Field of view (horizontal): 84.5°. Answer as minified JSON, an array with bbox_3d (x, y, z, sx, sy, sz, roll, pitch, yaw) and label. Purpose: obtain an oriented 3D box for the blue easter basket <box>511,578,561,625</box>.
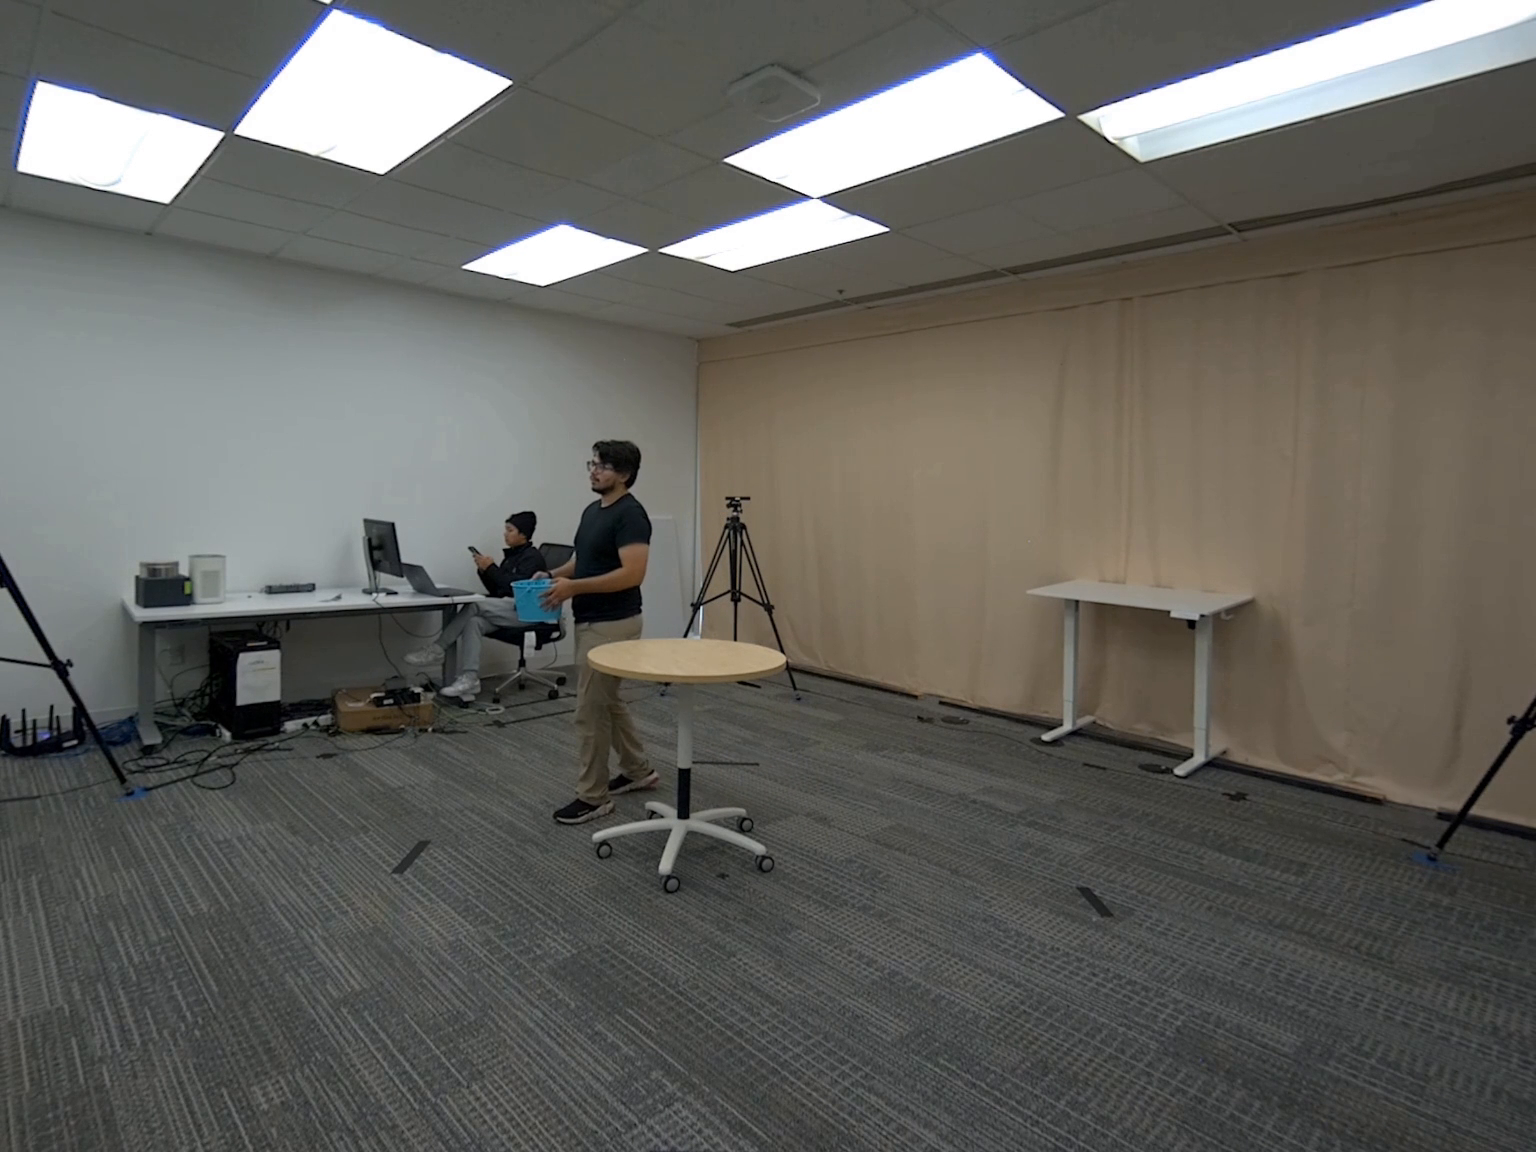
[{"bbox_3d":[-1.005,0.105,3.616,0.243,0.155,0.244,-1,6,-1],"label":"blue easter basket"}]
